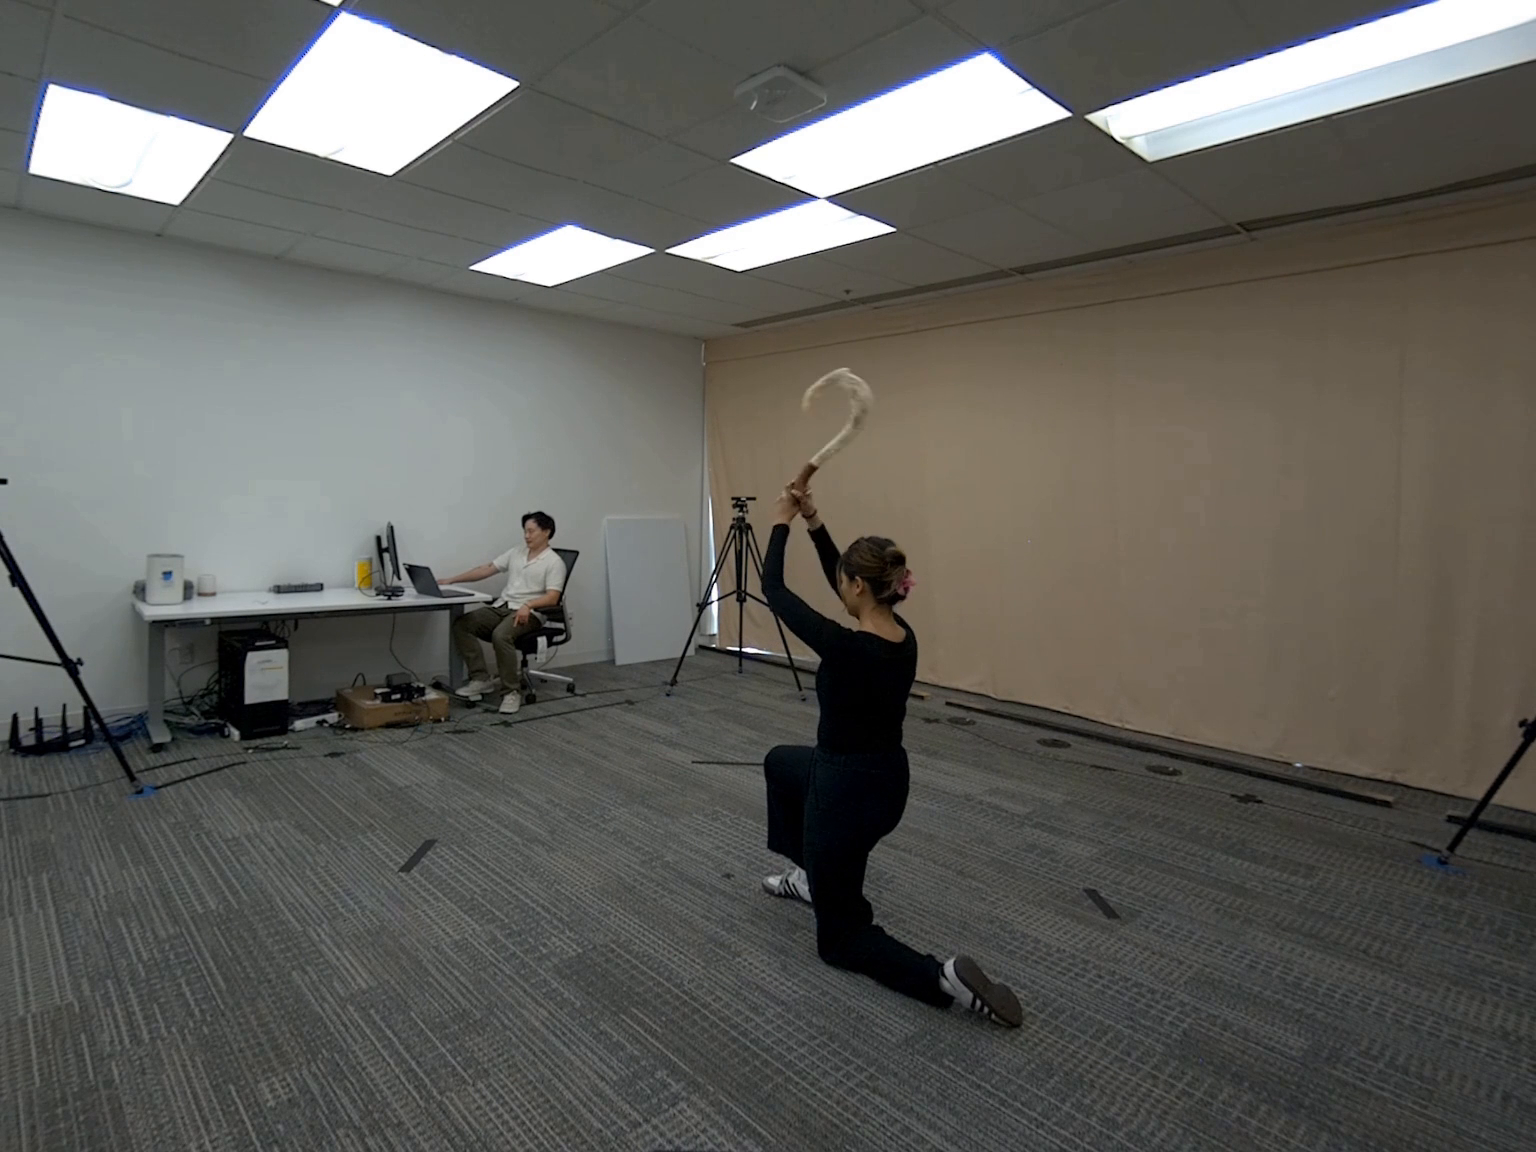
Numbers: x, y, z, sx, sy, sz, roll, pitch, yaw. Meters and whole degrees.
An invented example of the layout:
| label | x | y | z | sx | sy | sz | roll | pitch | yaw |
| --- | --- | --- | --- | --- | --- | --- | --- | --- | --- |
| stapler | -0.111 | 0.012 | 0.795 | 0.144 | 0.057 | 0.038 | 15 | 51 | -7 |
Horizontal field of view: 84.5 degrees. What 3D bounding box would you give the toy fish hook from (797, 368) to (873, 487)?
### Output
| label | x | y | z | sx | sy | sz | roll | pitch | yaw |
| --- | --- | --- | --- | --- | --- | --- | --- | --- | --- |
| toy fish hook | 0.137 | -0.385 | 2.720 | 0.230 | 0.504 | 0.047 | 46 | 28 | 25 |
